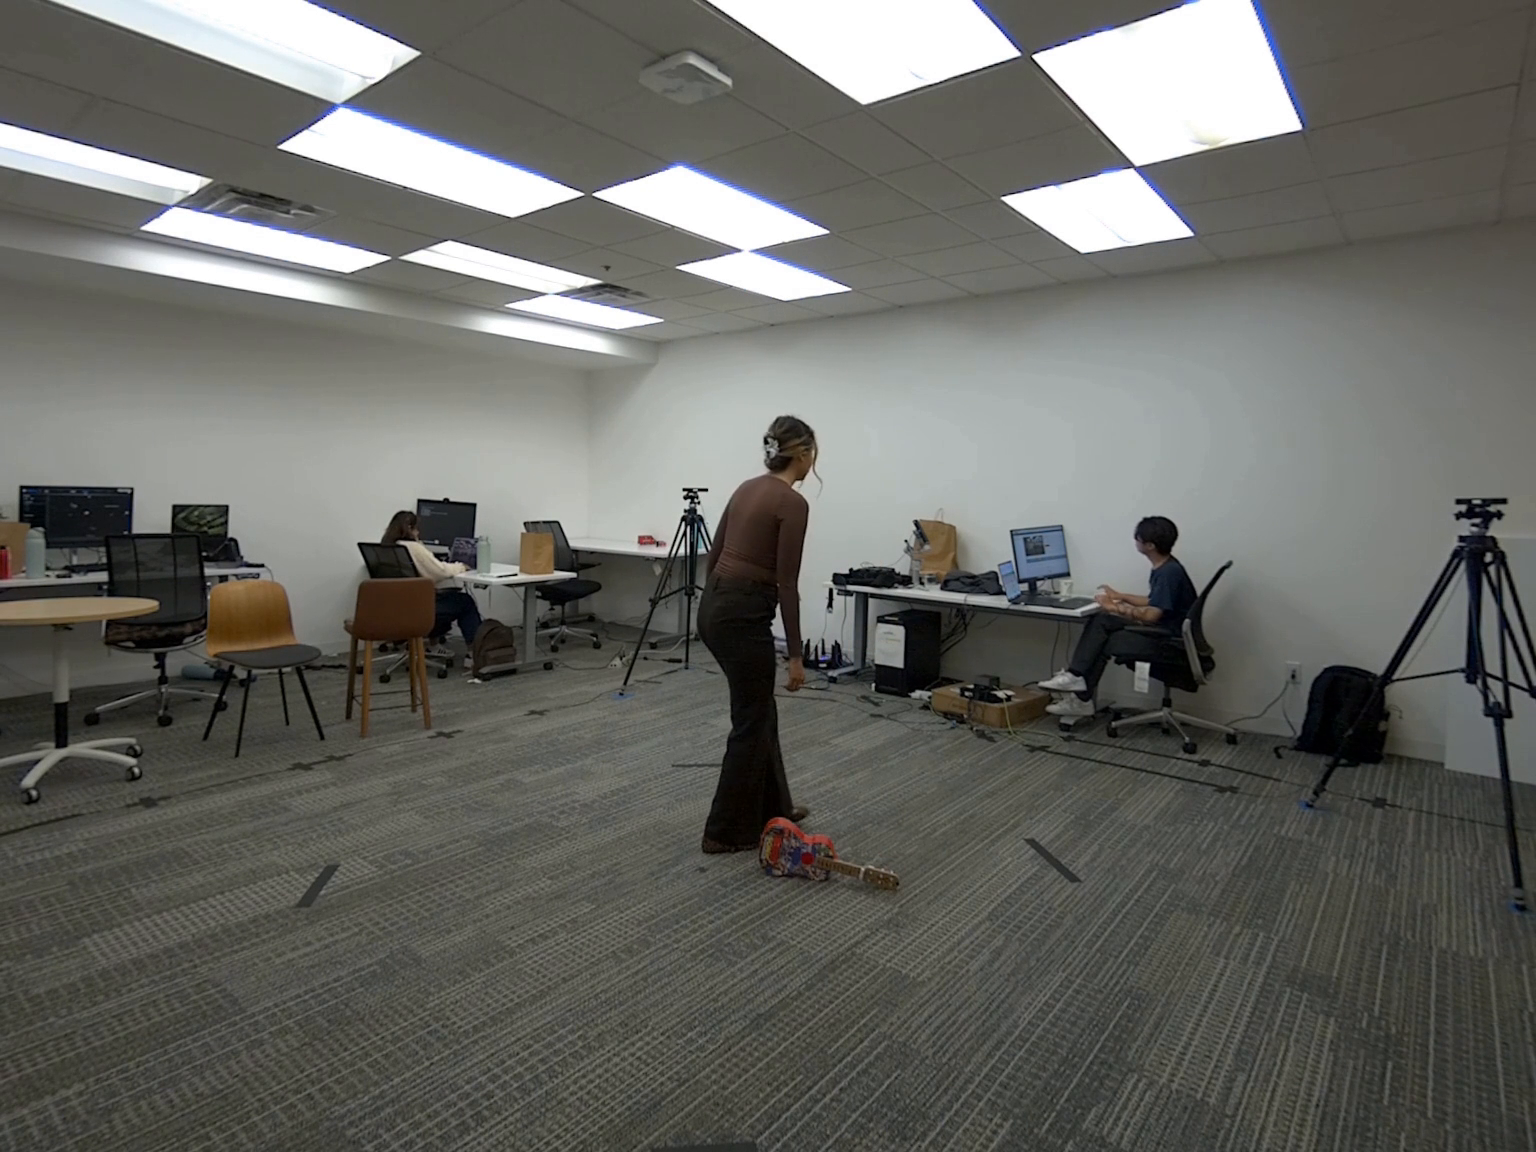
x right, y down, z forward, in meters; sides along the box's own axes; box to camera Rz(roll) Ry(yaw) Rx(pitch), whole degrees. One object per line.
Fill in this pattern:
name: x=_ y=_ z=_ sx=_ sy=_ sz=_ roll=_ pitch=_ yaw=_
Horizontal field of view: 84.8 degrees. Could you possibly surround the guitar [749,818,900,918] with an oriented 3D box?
guitar: x=0.200 y=1.034 z=3.045 sx=0.504 sy=0.192 sz=0.070 roll=20 pitch=8 yaw=9
